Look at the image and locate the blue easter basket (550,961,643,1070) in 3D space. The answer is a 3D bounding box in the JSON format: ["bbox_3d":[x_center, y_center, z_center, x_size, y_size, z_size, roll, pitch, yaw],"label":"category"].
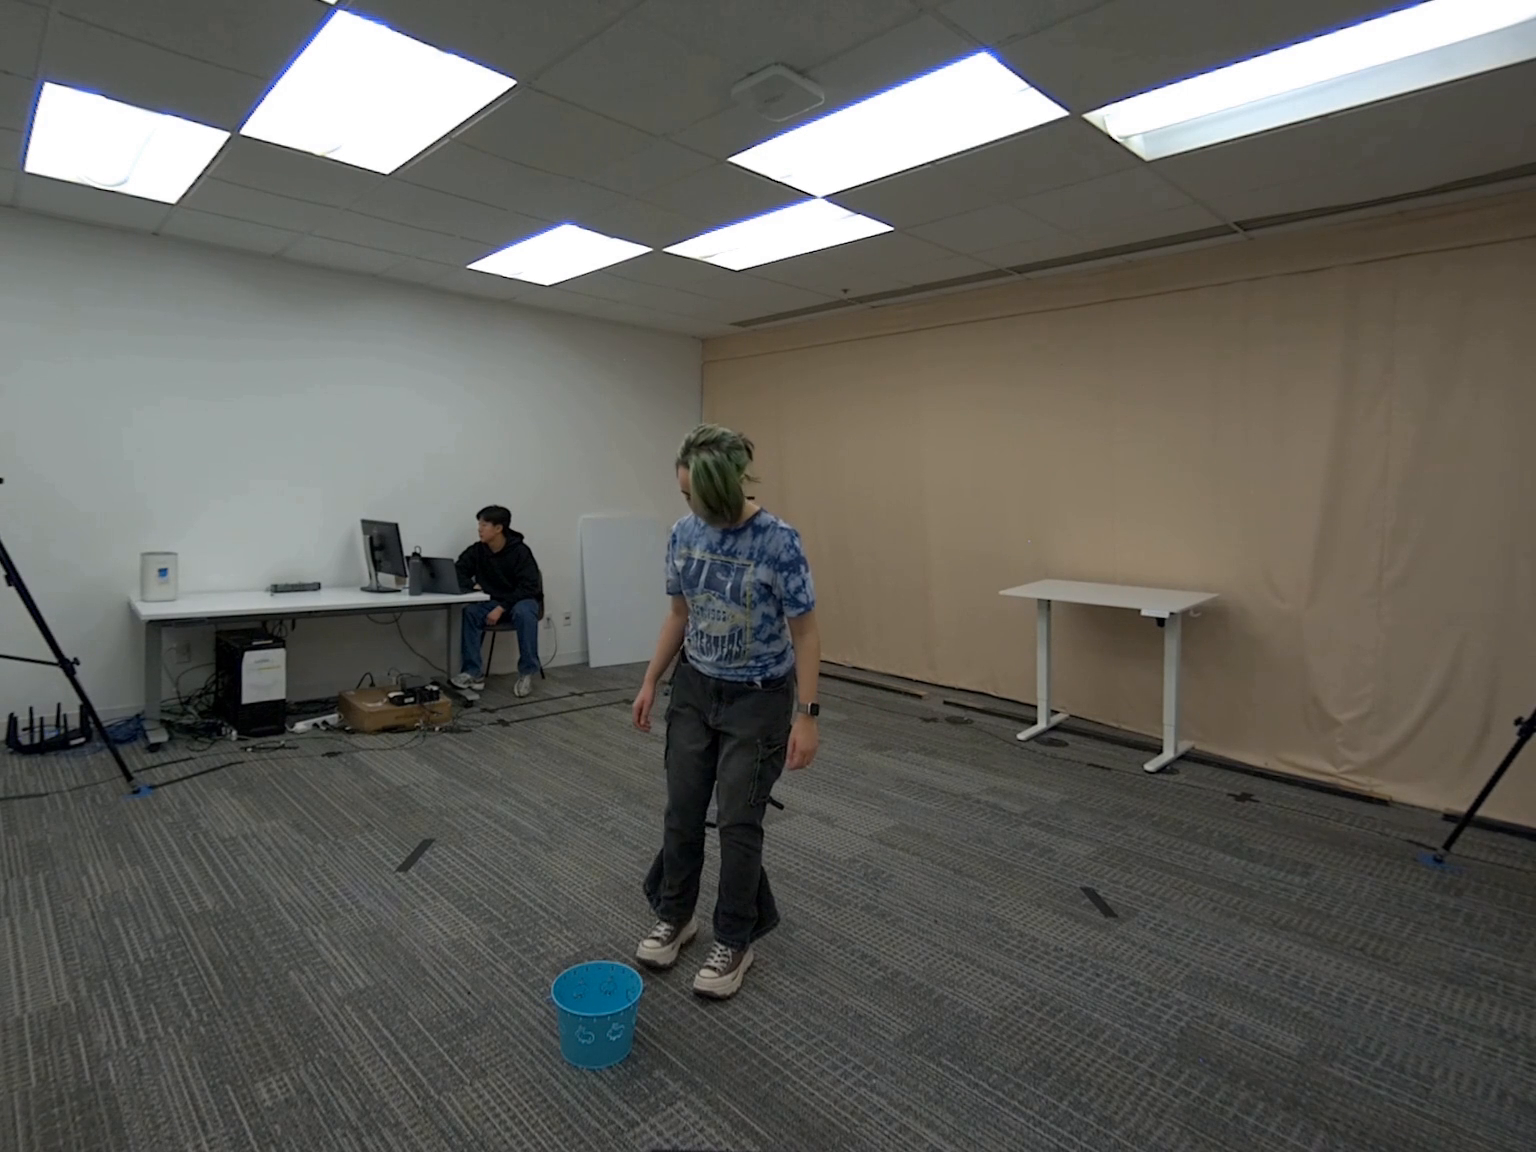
[{"bbox_3d":[-0.434,1.113,2.120,0.243,0.155,0.244,1,5,-1],"label":"blue easter basket"}]
